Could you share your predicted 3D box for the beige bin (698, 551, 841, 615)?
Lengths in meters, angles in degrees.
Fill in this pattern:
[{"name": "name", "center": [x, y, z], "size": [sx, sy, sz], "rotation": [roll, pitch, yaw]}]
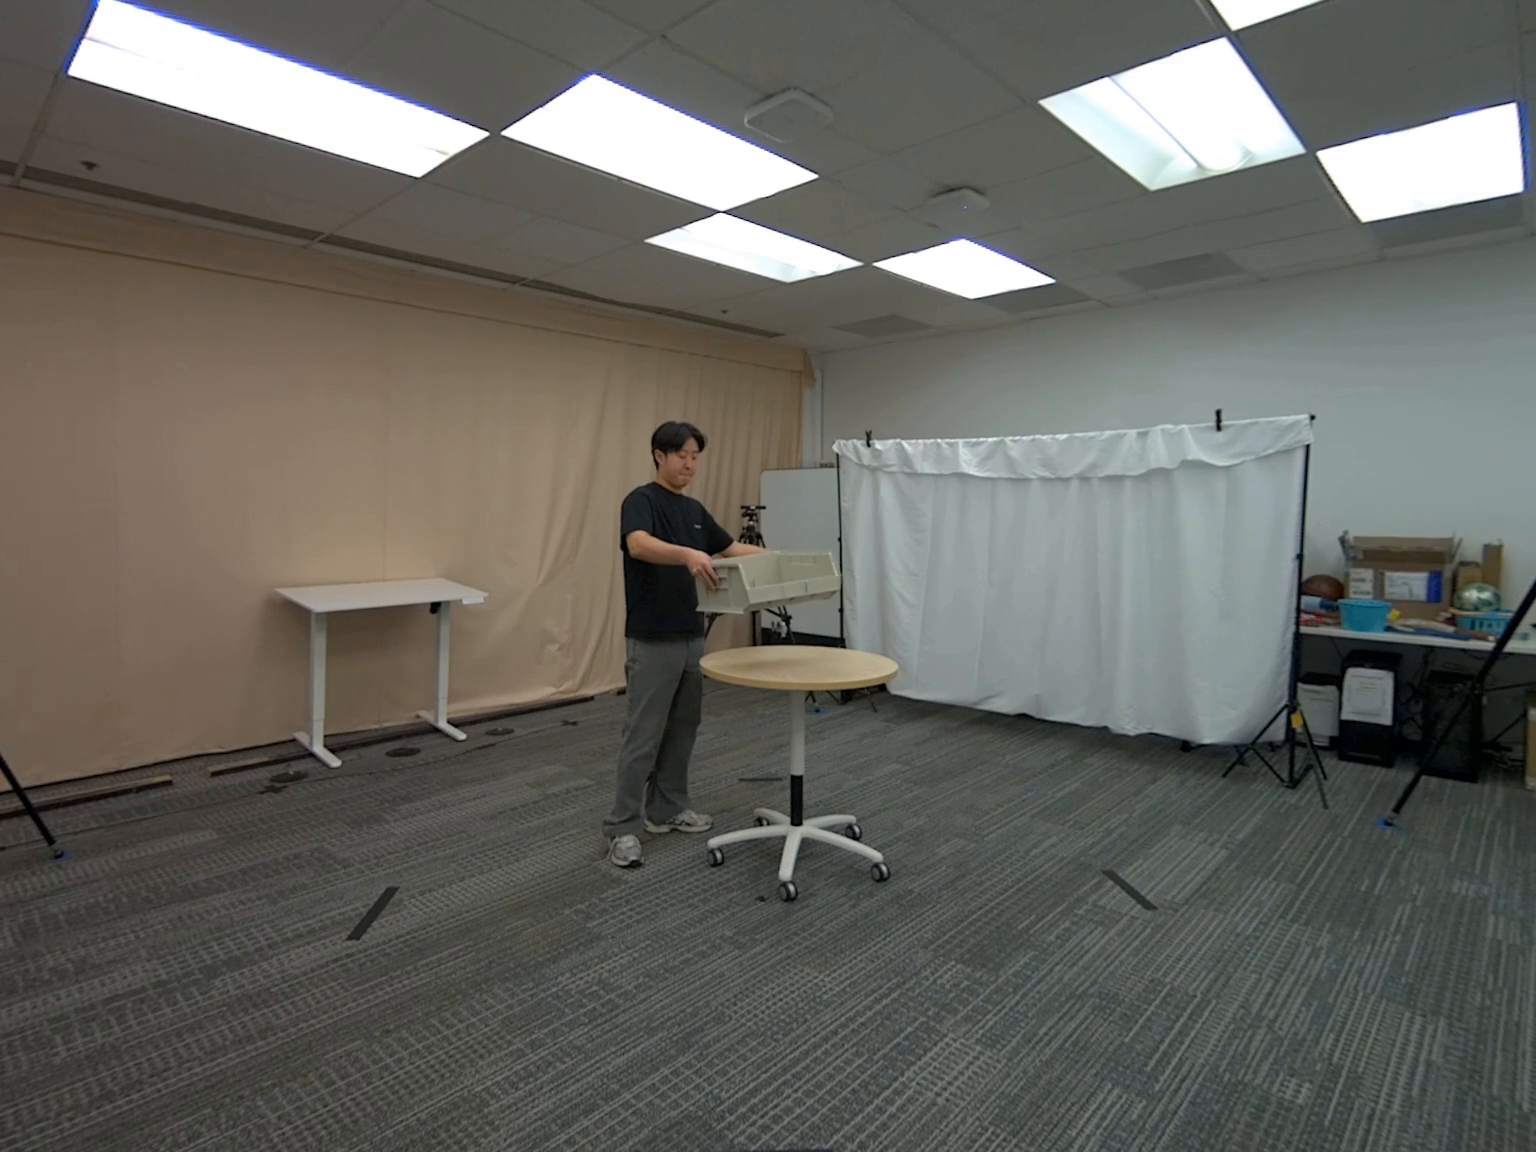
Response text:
[{"name": "beige bin", "center": [-0.008, 0.027, 3.122], "size": [0.411, 0.188, 0.388], "rotation": [-8, 4, -34]}]
